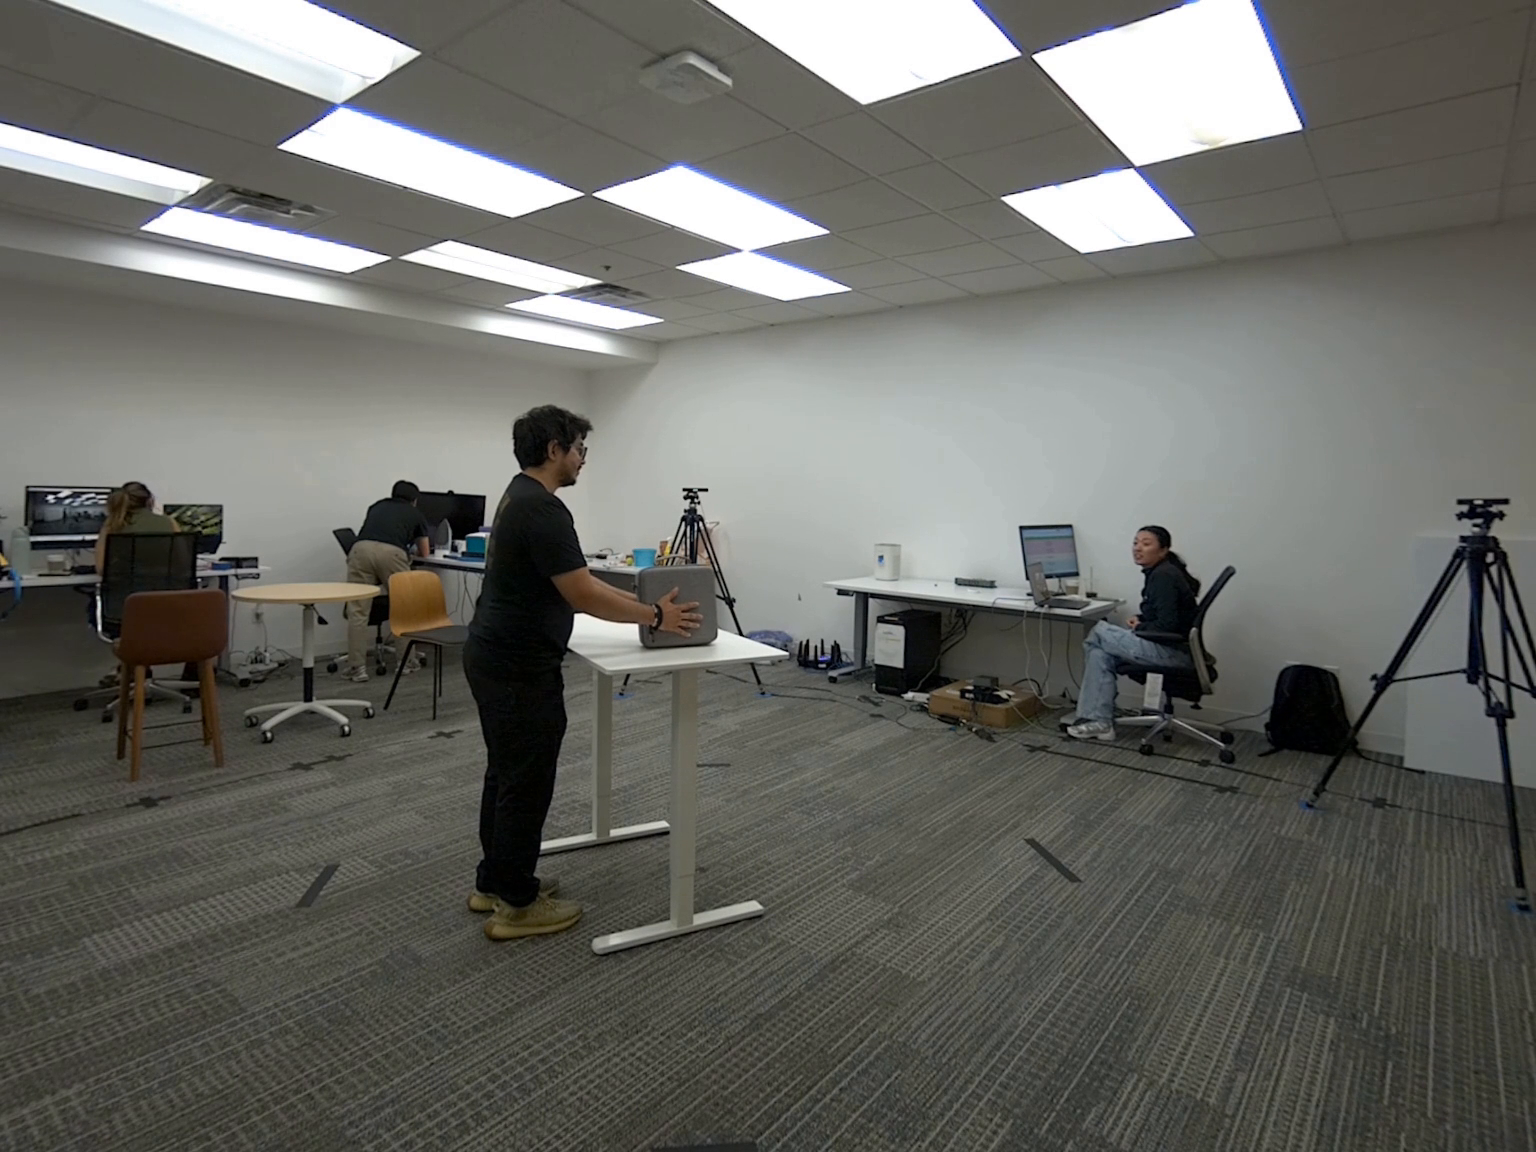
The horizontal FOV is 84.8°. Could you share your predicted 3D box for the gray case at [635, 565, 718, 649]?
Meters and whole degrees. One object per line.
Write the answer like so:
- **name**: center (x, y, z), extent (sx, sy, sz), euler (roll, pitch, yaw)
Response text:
- **gray case**: center (-0.307, 0.091, 2.750), extent (0.253, 0.261, 0.105), euler (-2, -3, -14)
